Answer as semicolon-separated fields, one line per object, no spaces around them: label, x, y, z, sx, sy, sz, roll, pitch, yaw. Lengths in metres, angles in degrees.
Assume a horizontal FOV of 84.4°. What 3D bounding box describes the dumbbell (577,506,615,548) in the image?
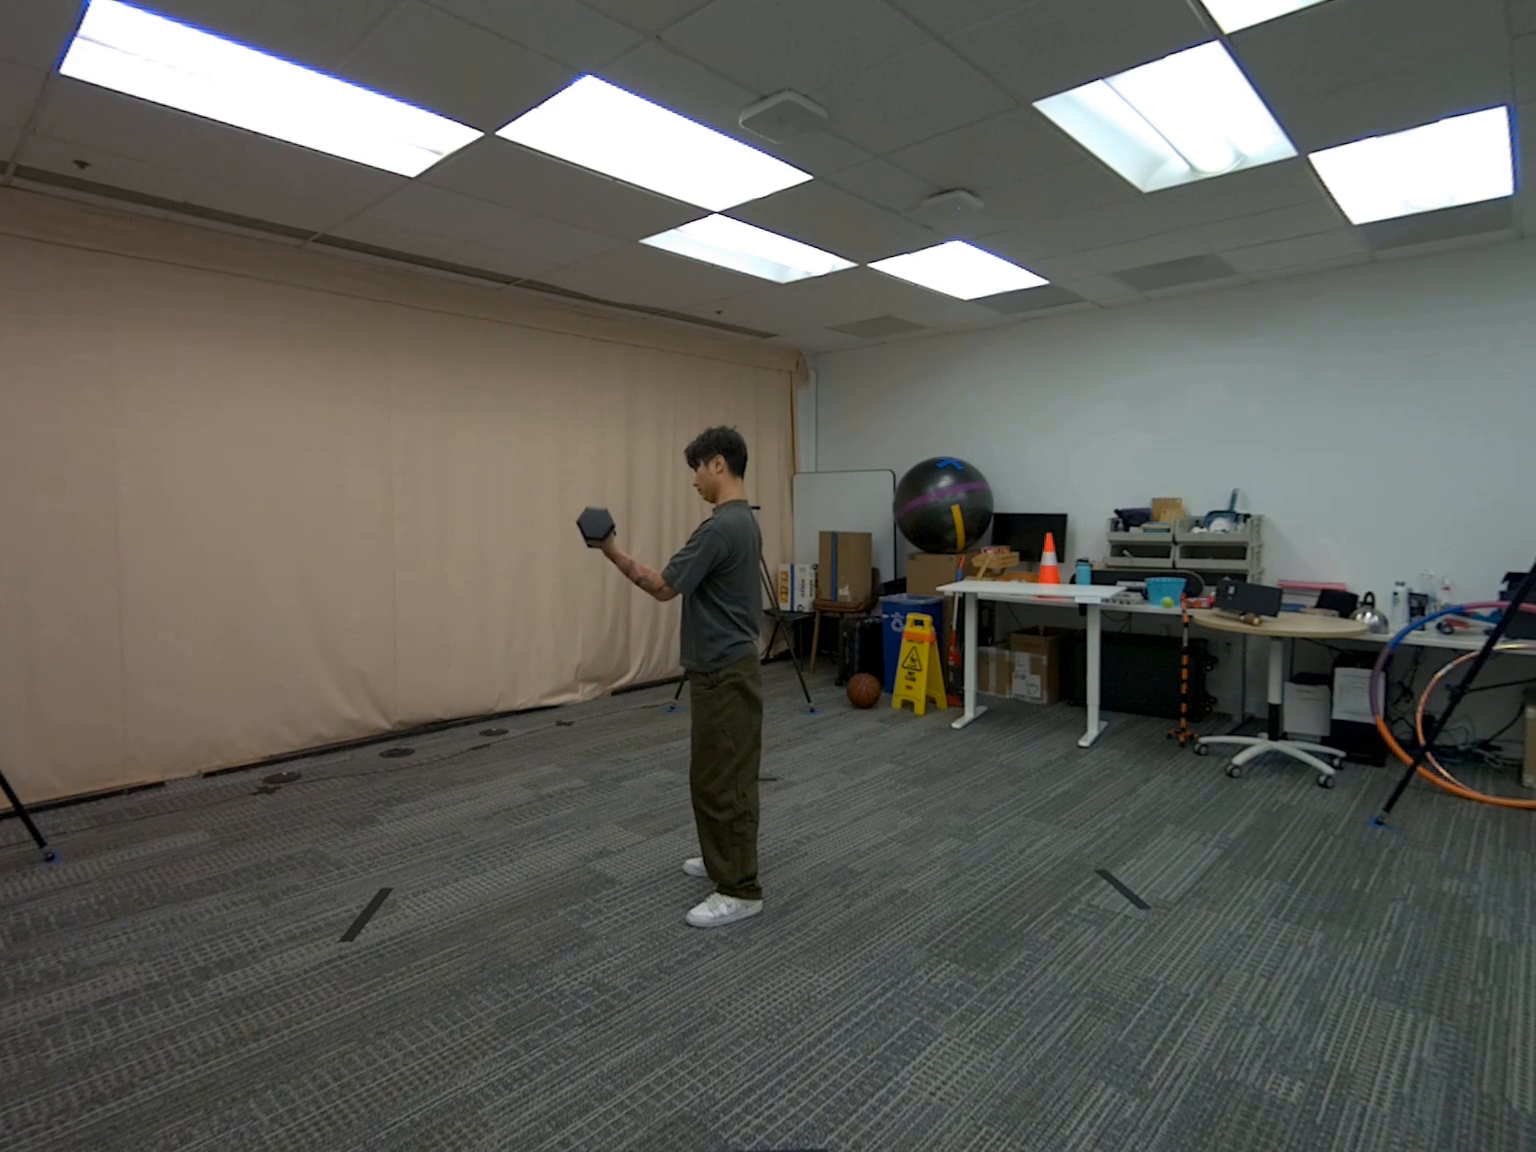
dumbbell;-0.553;-0.155;2.756;0.108;0.123;0.296;33;-8;-8
